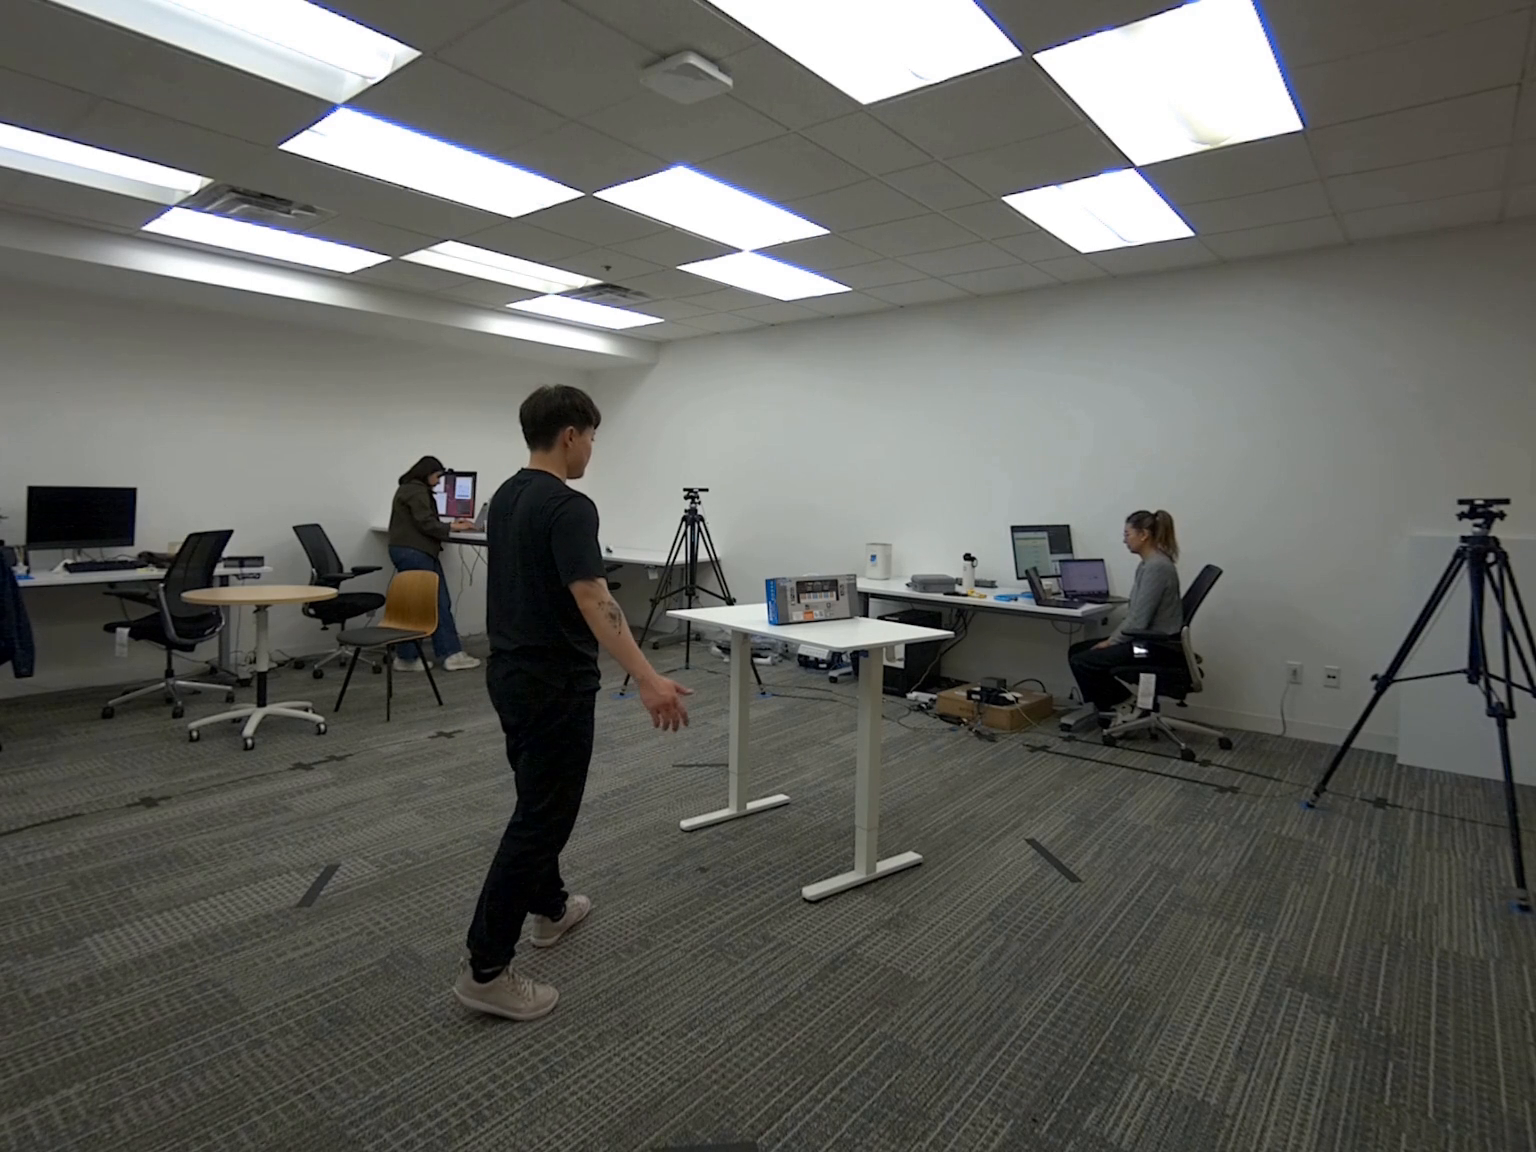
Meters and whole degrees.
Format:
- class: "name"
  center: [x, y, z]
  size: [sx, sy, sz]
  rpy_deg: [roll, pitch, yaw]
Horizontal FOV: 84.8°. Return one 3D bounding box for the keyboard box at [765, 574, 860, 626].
- class: "keyboard box"
  center: [0.171, 0.086, 3.329]
  size: [0.424, 0.177, 0.060]
  rpy_deg: [-2, -4, -37]
